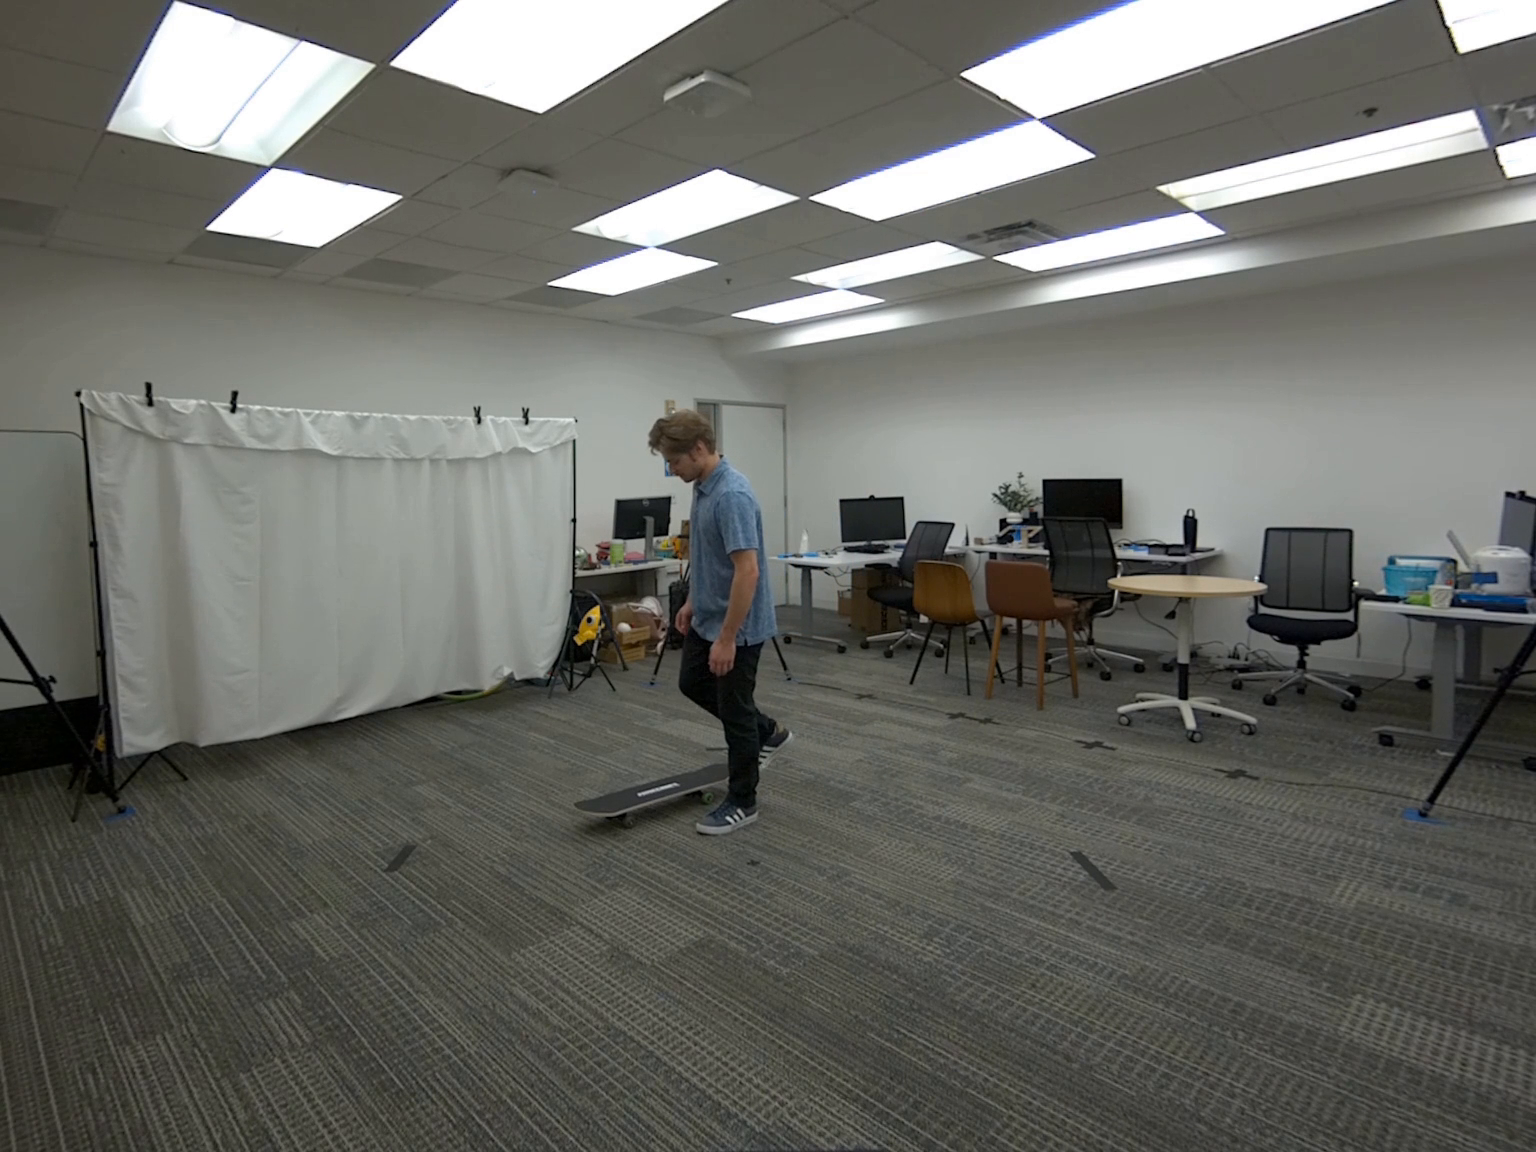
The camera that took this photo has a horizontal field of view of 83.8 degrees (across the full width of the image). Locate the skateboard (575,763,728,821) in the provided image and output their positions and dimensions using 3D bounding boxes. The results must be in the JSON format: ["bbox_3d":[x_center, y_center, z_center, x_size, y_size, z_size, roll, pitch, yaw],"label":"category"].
[{"bbox_3d":[-0.461,0.935,3.623,0.765,0.110,0.199,-6,8,-39],"label":"skateboard"}]
